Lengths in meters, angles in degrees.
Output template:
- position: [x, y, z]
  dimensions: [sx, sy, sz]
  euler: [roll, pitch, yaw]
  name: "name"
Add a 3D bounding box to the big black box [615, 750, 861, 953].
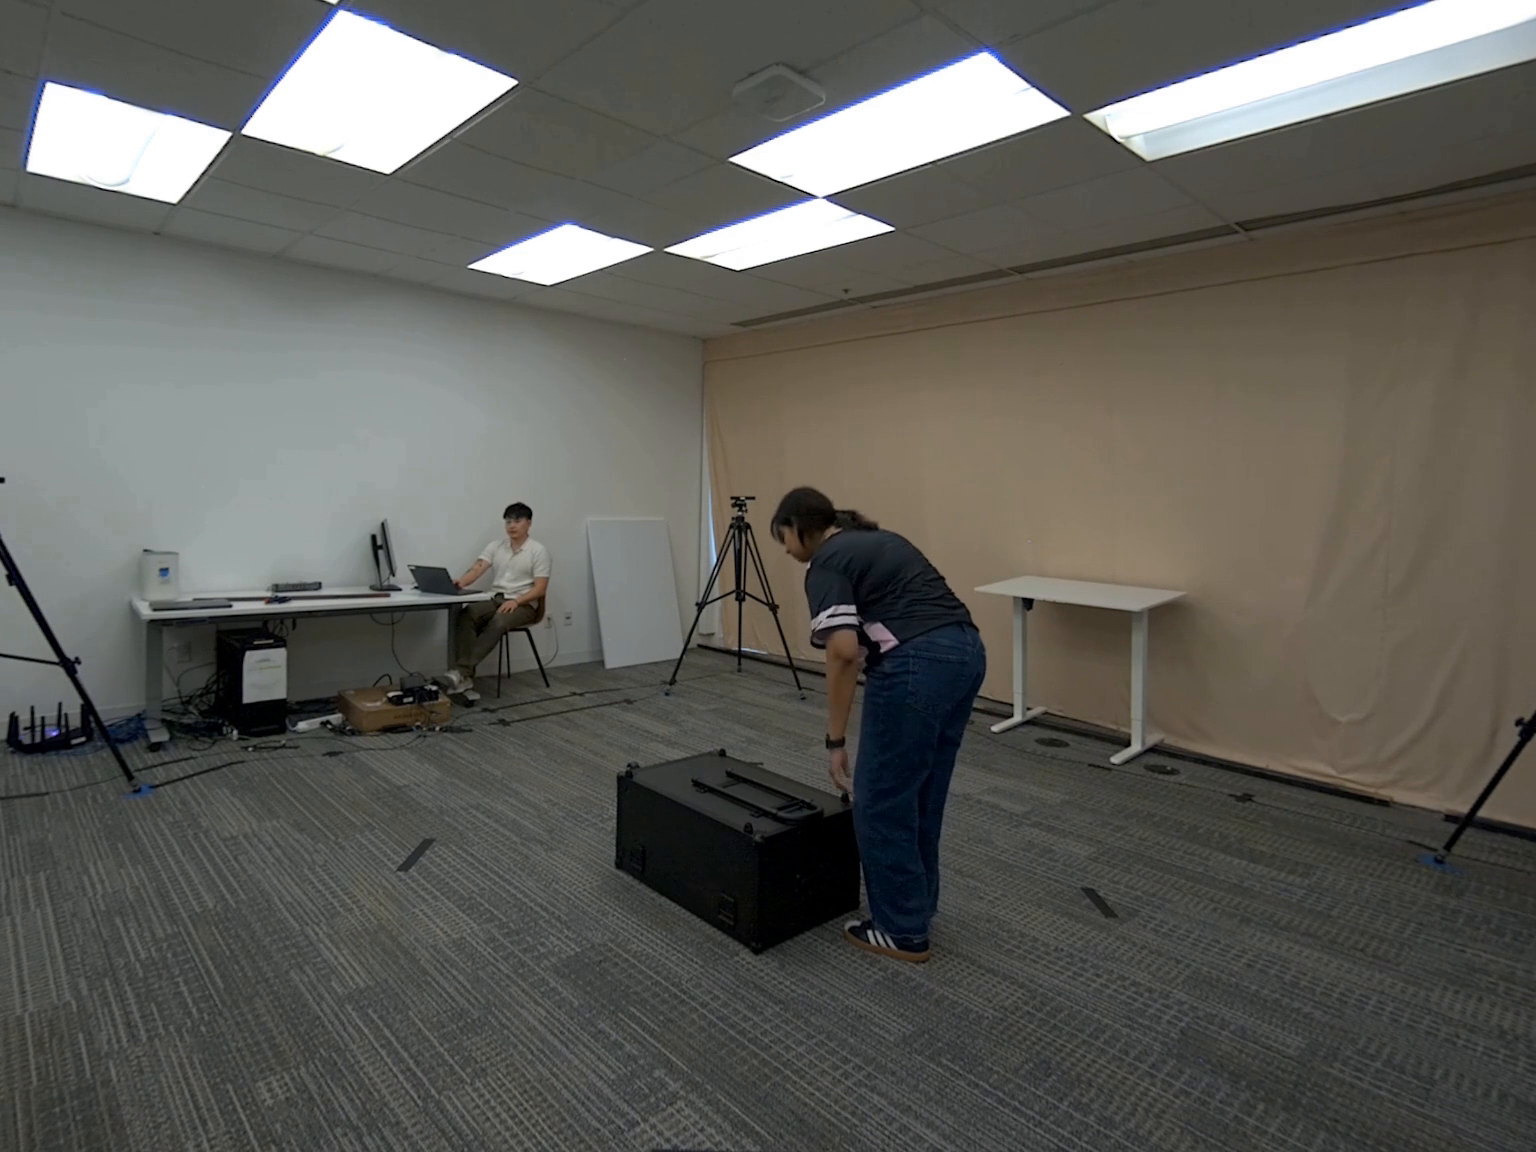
- position: [-0.163, 0.927, 3.023]
  dimensions: [0.512, 0.384, 0.891]
  euler: [-4, 7, -42]
  name: "big black box"
